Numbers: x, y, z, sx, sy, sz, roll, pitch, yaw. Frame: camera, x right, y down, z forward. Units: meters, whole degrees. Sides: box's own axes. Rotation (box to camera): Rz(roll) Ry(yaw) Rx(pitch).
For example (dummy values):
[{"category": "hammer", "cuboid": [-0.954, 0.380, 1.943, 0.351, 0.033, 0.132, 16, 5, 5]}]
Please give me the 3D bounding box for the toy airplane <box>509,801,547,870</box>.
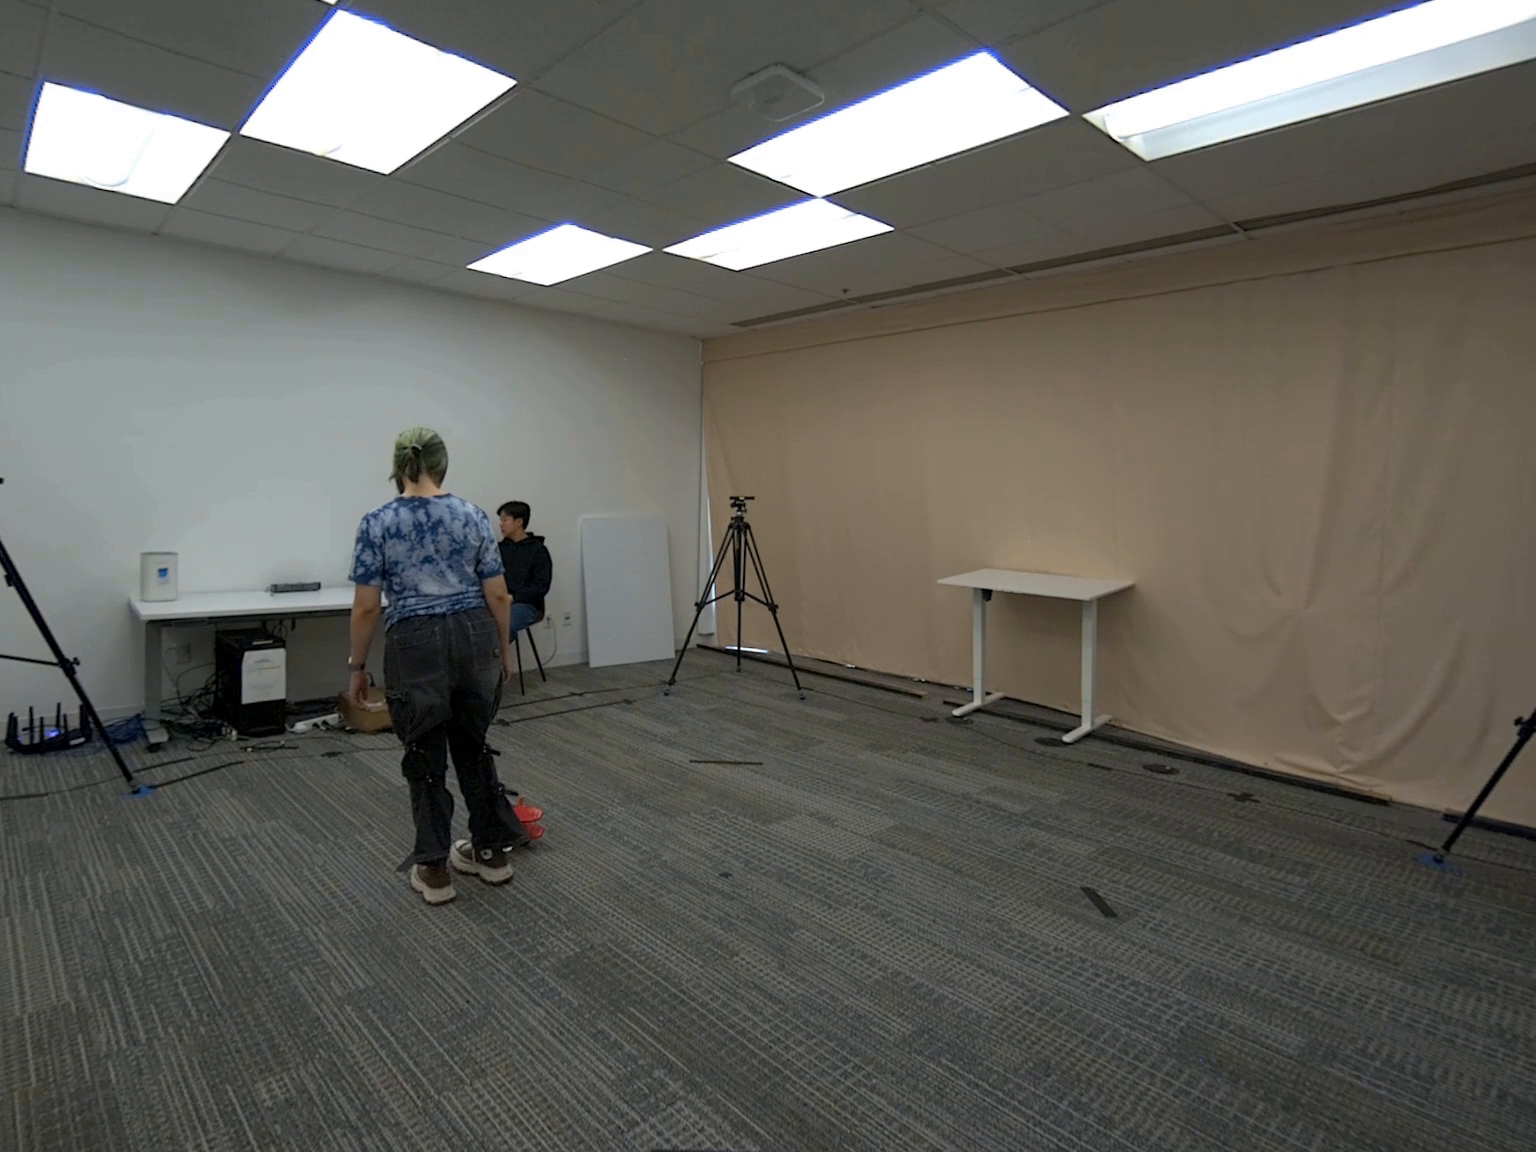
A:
[{"category": "toy airplane", "cuboid": [-1.005, 1.002, 3.271, 0.247, 0.156, 0.264, 0, 4, -22]}]
